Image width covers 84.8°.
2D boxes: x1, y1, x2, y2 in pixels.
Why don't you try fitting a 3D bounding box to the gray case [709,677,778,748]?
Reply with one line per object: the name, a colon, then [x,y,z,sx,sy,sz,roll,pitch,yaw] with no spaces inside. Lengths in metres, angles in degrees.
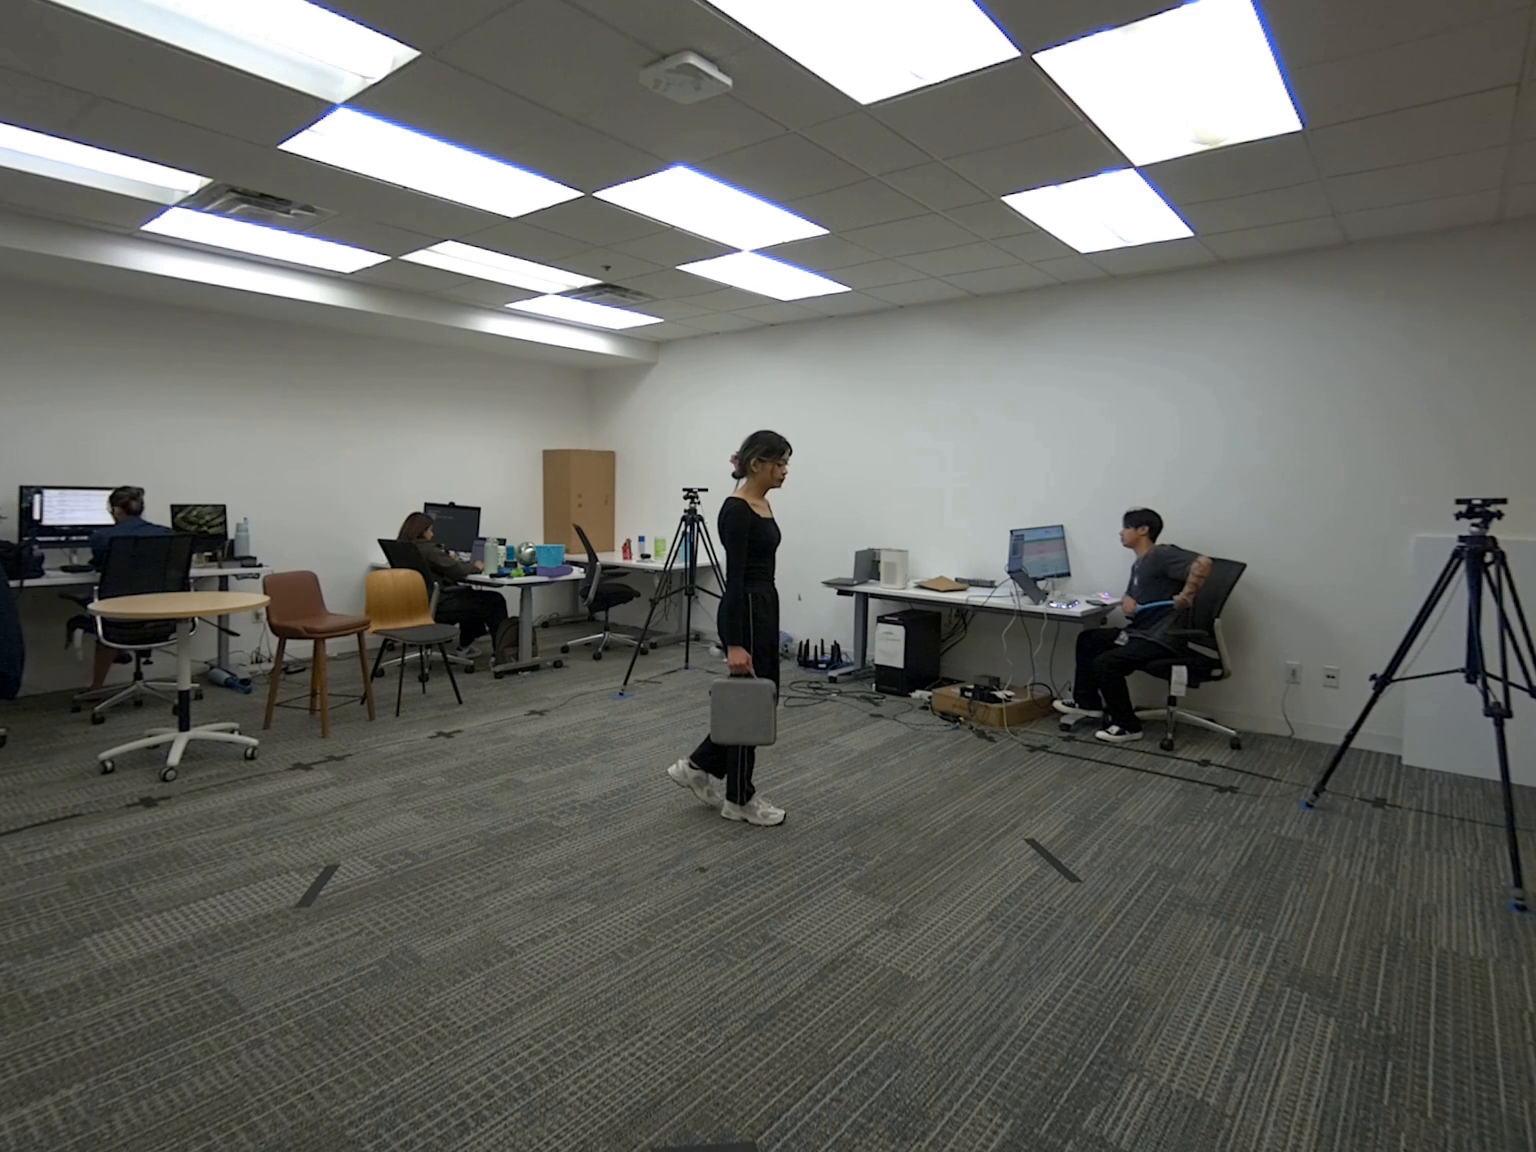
gray case: [-0.106,0.521,3.335,0.260,0.262,0.102,-2,-4,13]
